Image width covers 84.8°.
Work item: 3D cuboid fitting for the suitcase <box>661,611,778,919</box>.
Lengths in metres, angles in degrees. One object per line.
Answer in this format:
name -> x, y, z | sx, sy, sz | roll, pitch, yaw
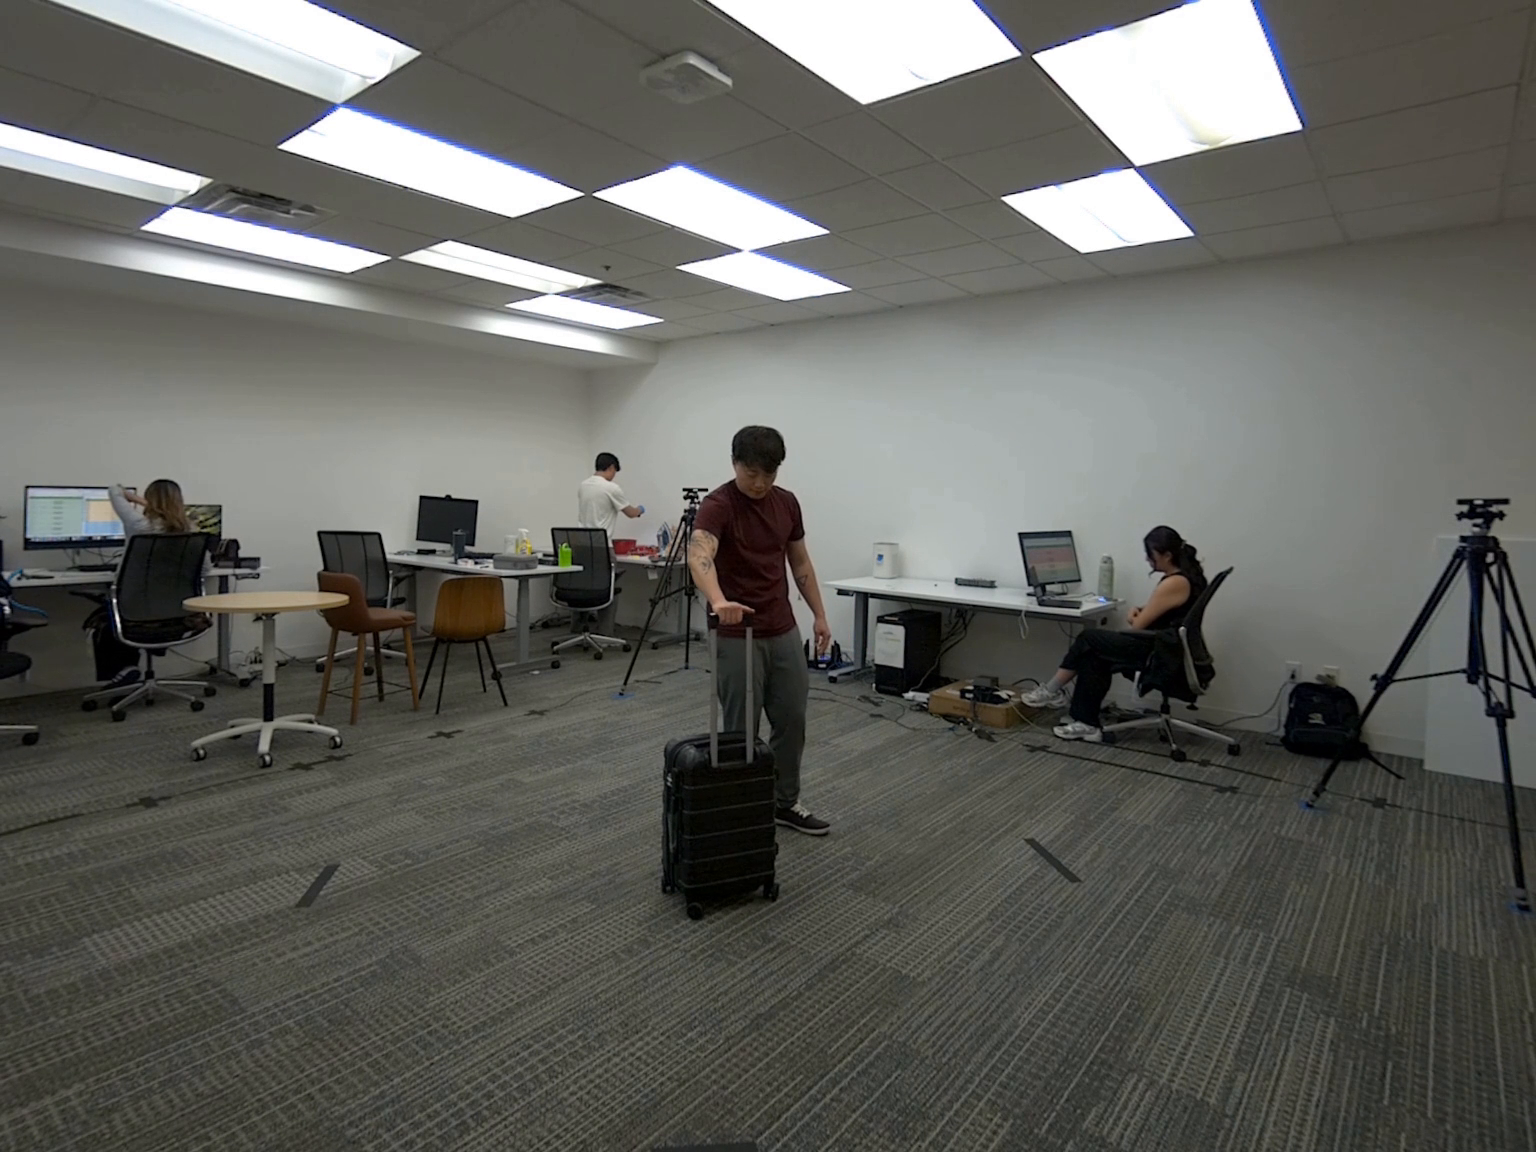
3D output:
suitcase -> -0.182, 0.612, 2.897 | 0.375, 0.977, 0.263 | 0, 1, -25
